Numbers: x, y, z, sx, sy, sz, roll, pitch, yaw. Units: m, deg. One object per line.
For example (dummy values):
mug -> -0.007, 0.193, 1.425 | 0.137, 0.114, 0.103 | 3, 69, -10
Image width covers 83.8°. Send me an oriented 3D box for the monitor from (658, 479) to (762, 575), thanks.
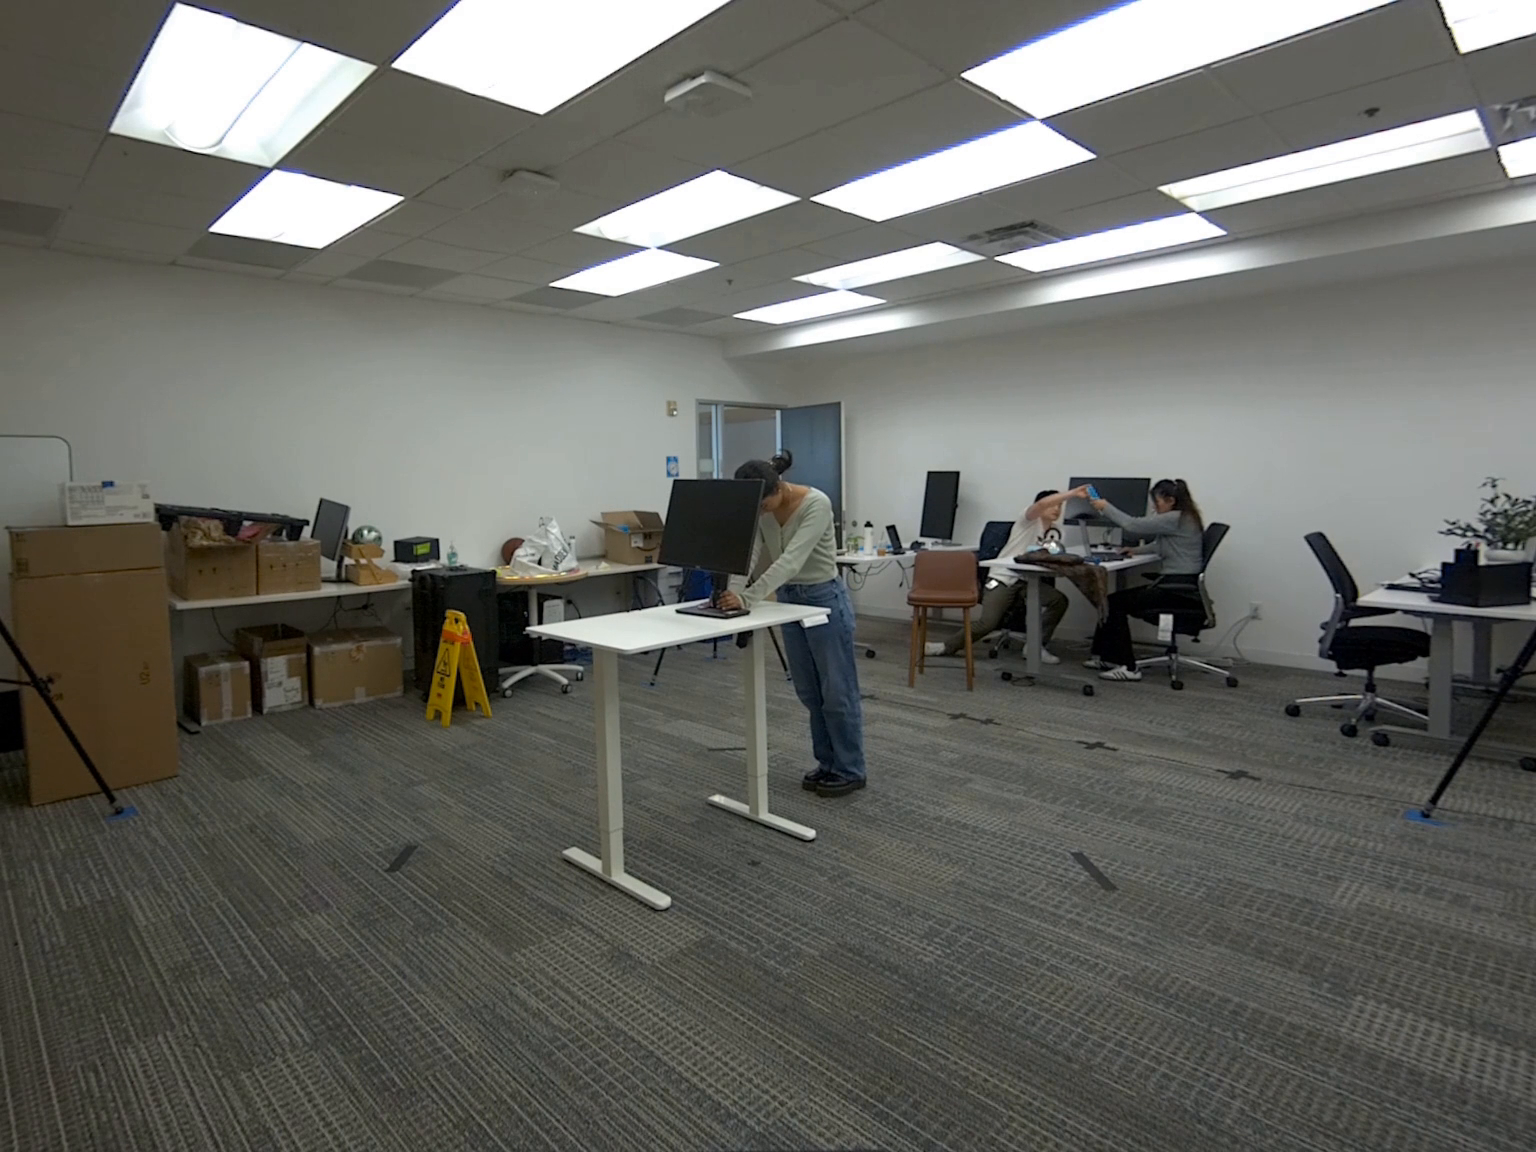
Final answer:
monitor -> -0.208, -0.111, 3.279 | 0.182, 0.520, 0.556 | -4, 6, -43
